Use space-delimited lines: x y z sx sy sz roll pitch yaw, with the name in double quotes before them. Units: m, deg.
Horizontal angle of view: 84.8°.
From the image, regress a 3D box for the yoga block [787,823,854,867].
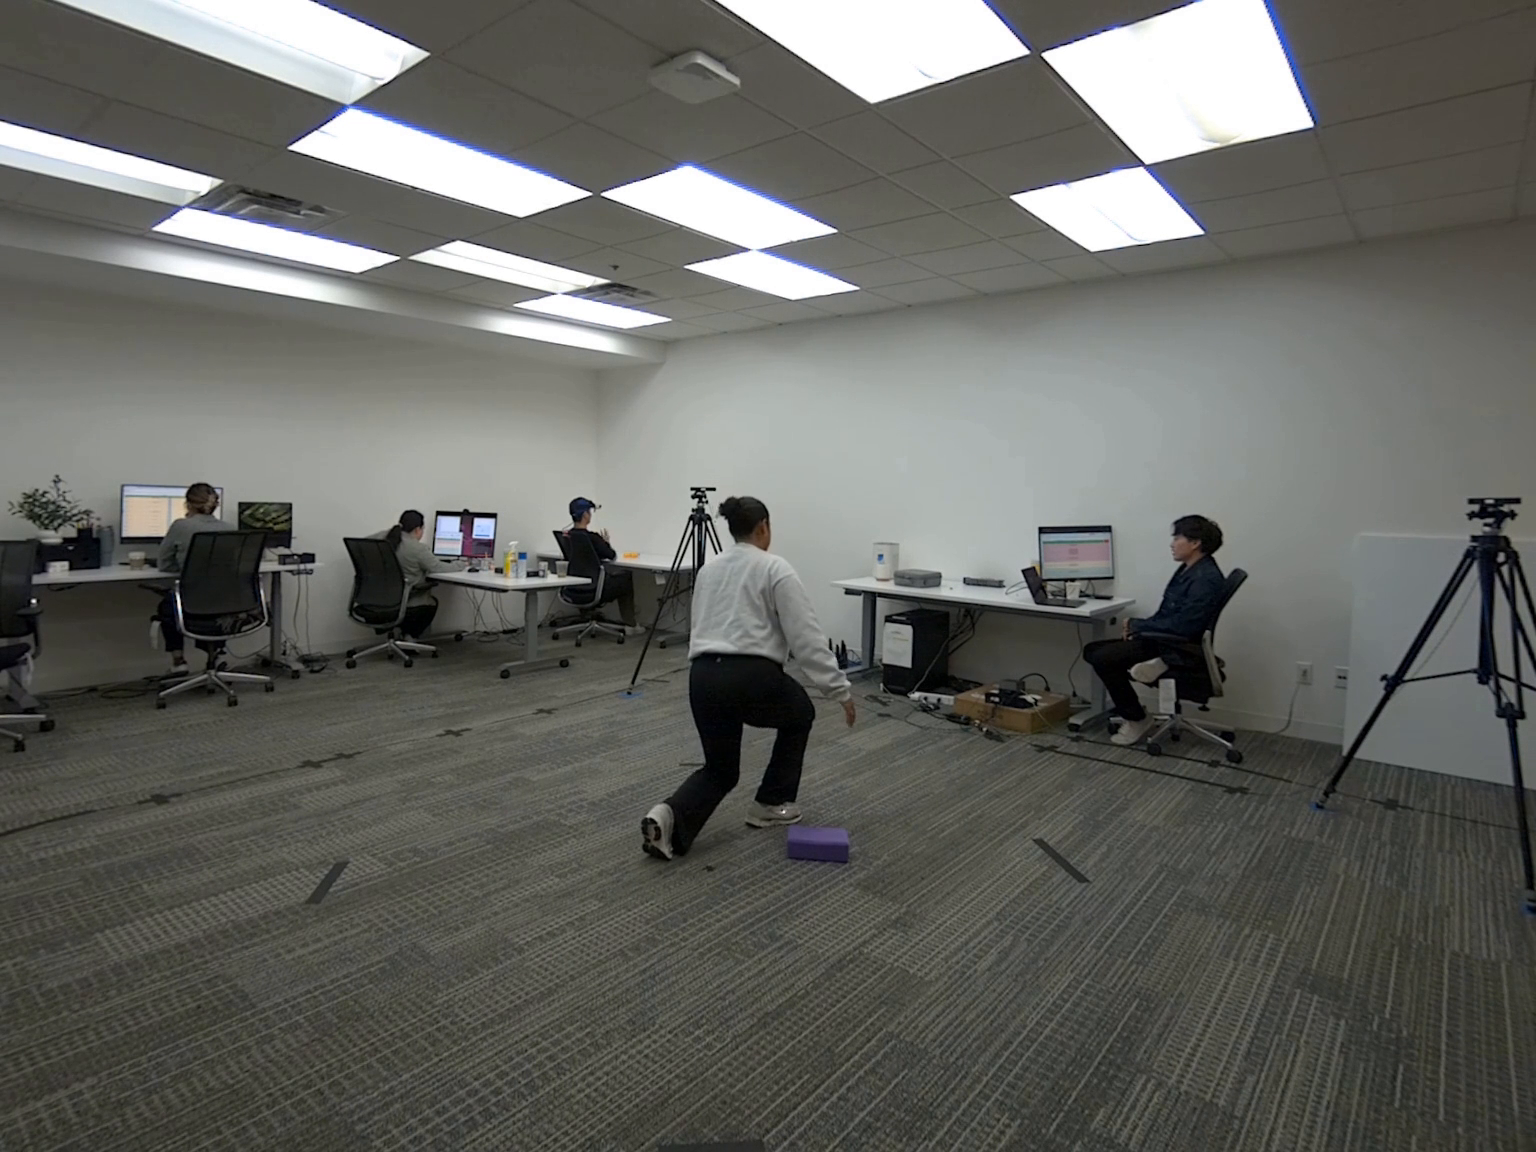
"yoga block" 0.179 1.015 3.259 0.231 0.076 0.149 2 6 5
